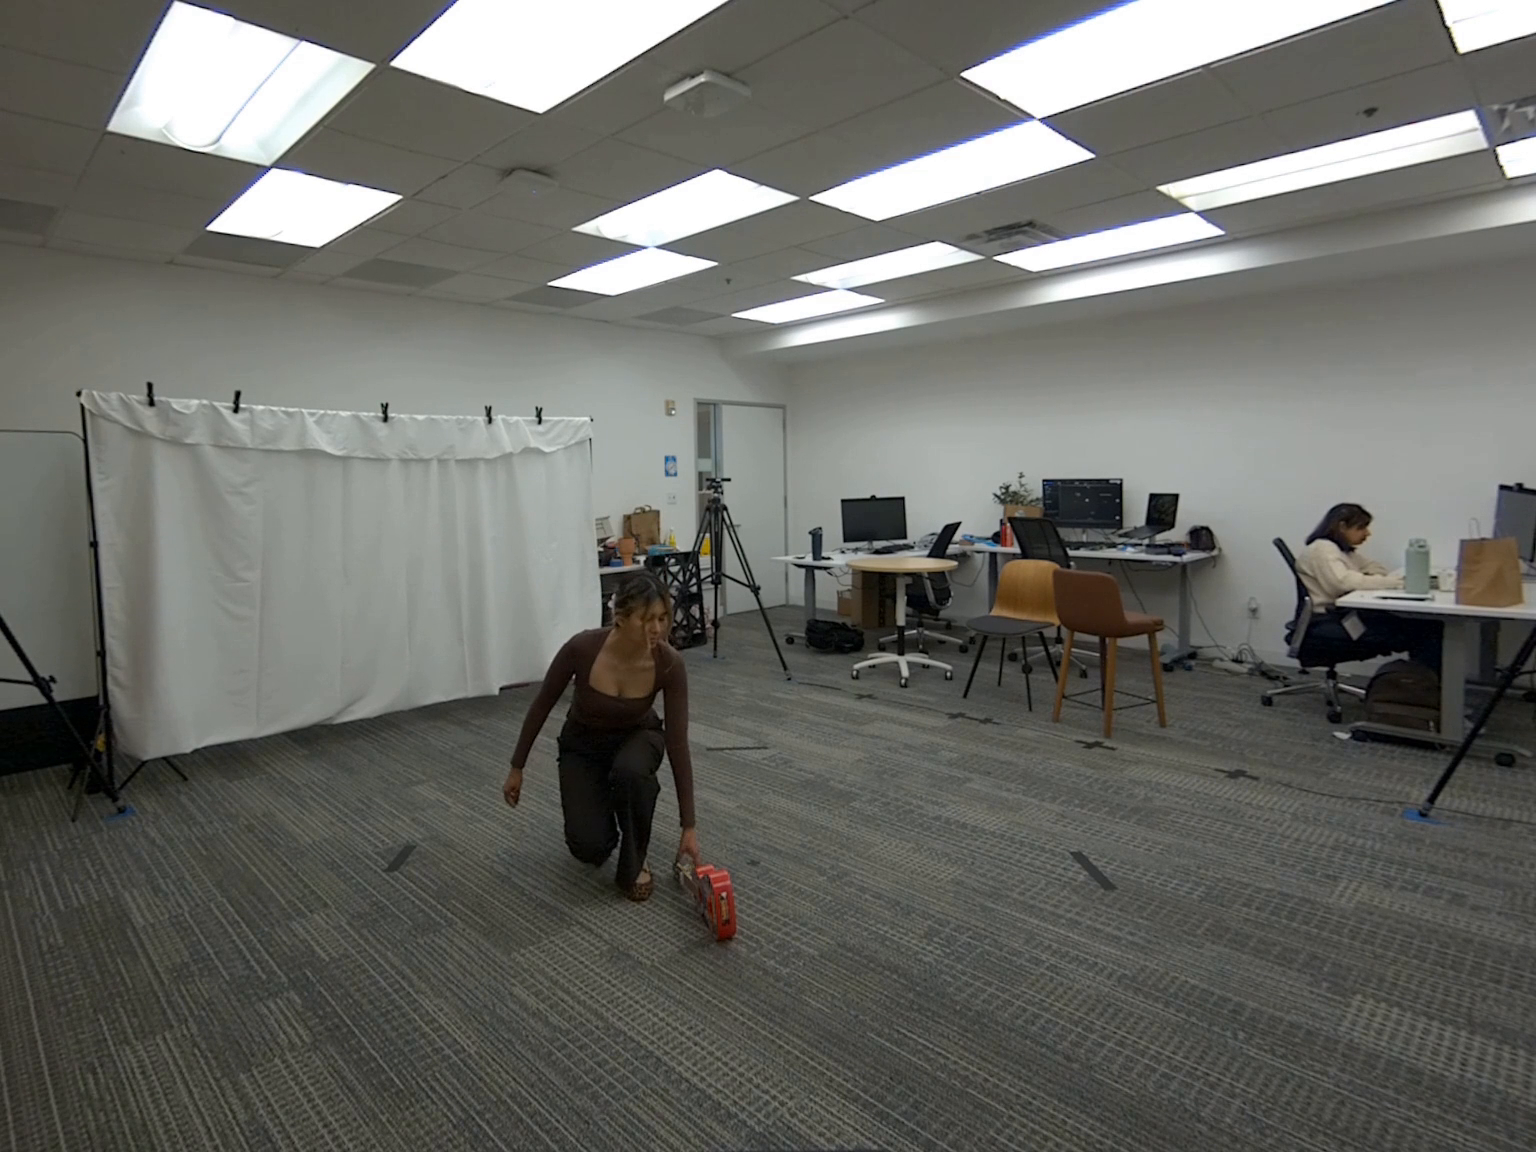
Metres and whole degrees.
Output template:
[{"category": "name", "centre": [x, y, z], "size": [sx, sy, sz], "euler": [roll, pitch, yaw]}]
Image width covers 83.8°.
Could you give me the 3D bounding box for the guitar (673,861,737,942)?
[{"category": "guitar", "centre": [-0.219, 0.980, 2.784], "size": [0.069, 0.192, 0.508], "euler": [-7, 8, -20]}]
